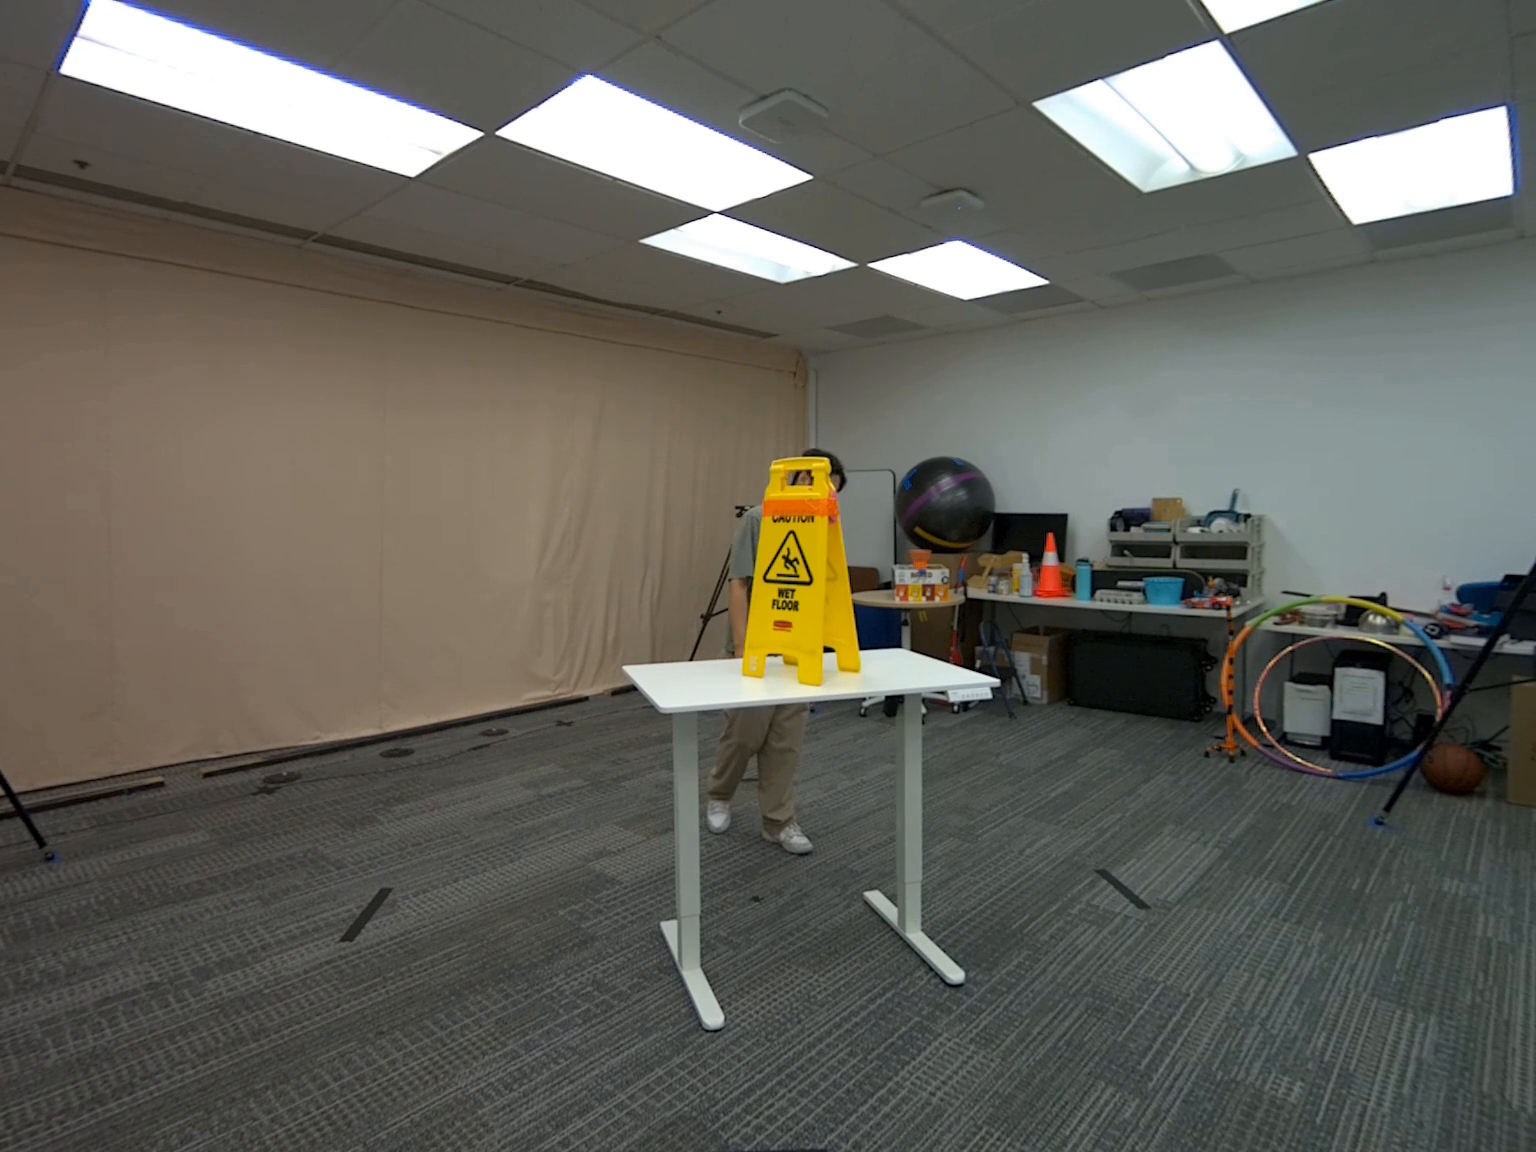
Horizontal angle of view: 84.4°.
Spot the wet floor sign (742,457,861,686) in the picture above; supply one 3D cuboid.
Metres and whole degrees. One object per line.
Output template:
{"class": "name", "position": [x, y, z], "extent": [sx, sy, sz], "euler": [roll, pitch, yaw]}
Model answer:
{"class": "wet floor sign", "position": [0.100, -0.025, 2.536], "extent": [0.291, 0.645, 0.281], "euler": [1, 4, 36]}
